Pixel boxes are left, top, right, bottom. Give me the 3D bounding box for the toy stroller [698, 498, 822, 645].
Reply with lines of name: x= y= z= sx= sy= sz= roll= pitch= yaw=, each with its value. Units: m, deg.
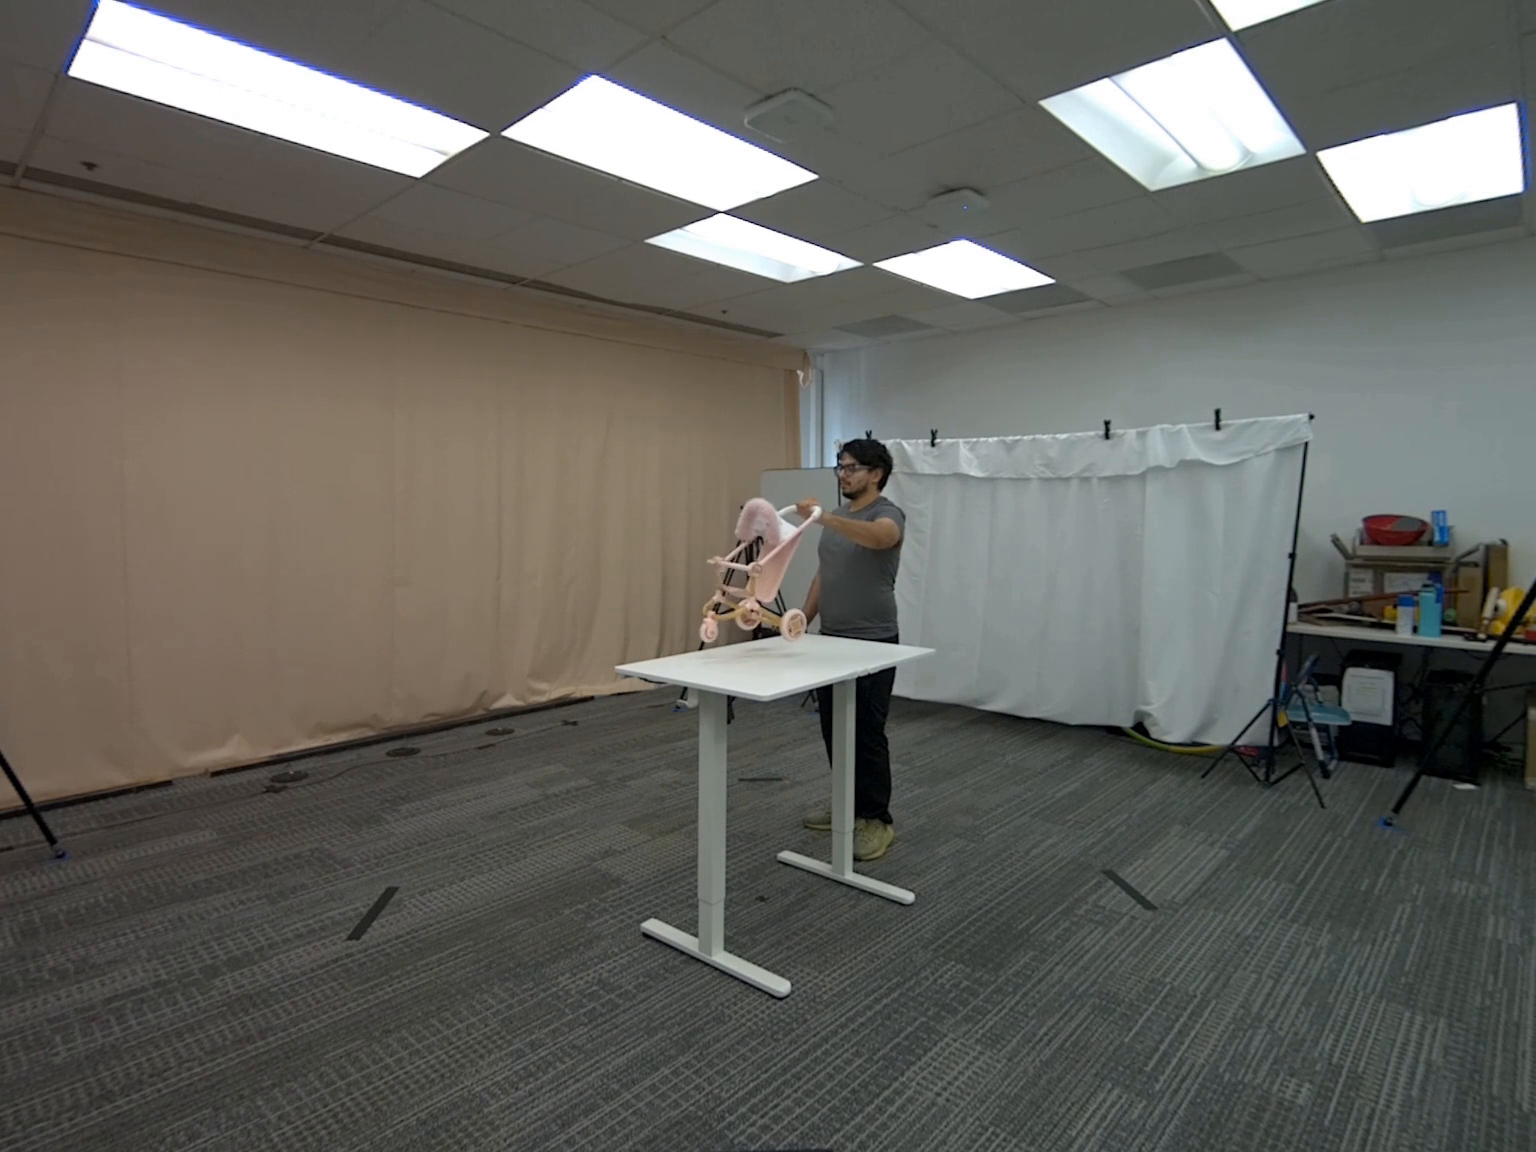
toy stroller: x=-0.042 y=-0.019 z=2.844 sx=0.330 sy=0.535 sz=0.290 roll=14 pitch=-3 yaw=-33
